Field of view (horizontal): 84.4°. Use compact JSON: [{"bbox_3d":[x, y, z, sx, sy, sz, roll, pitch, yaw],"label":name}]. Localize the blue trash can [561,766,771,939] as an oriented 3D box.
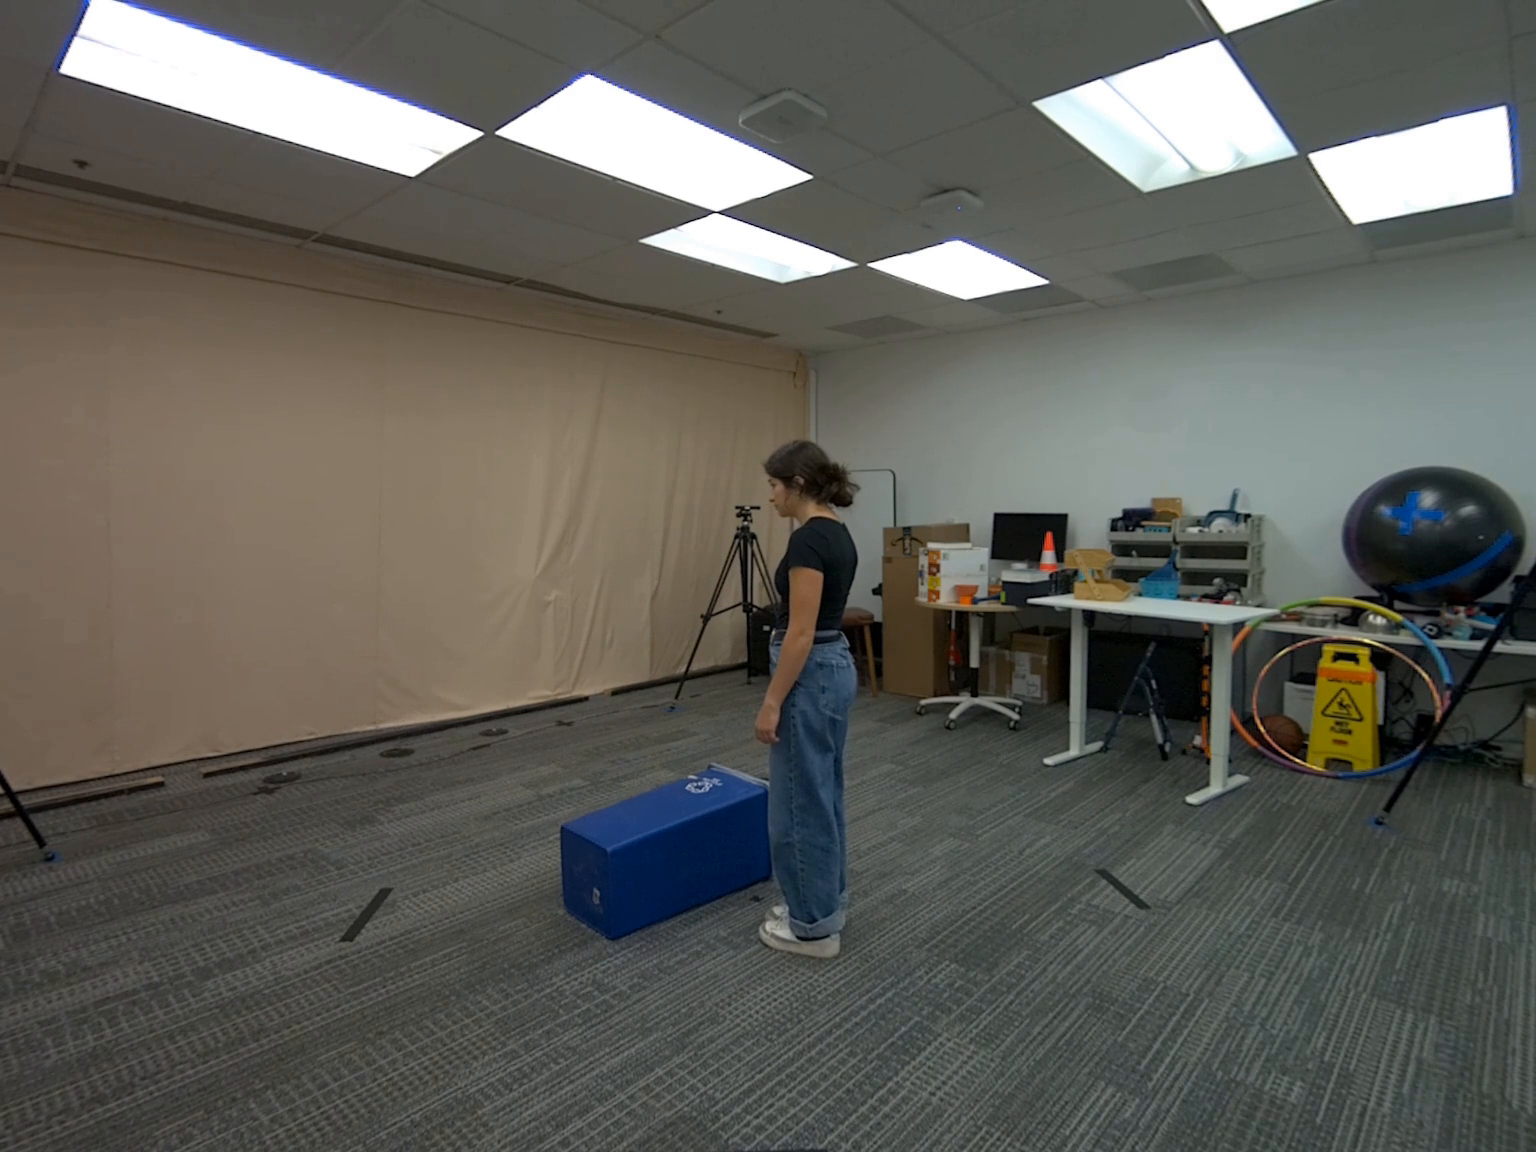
[{"bbox_3d":[-0.357,0.979,3.021,0.693,0.372,0.391,-9,9,-41],"label":"blue trash can"}]
